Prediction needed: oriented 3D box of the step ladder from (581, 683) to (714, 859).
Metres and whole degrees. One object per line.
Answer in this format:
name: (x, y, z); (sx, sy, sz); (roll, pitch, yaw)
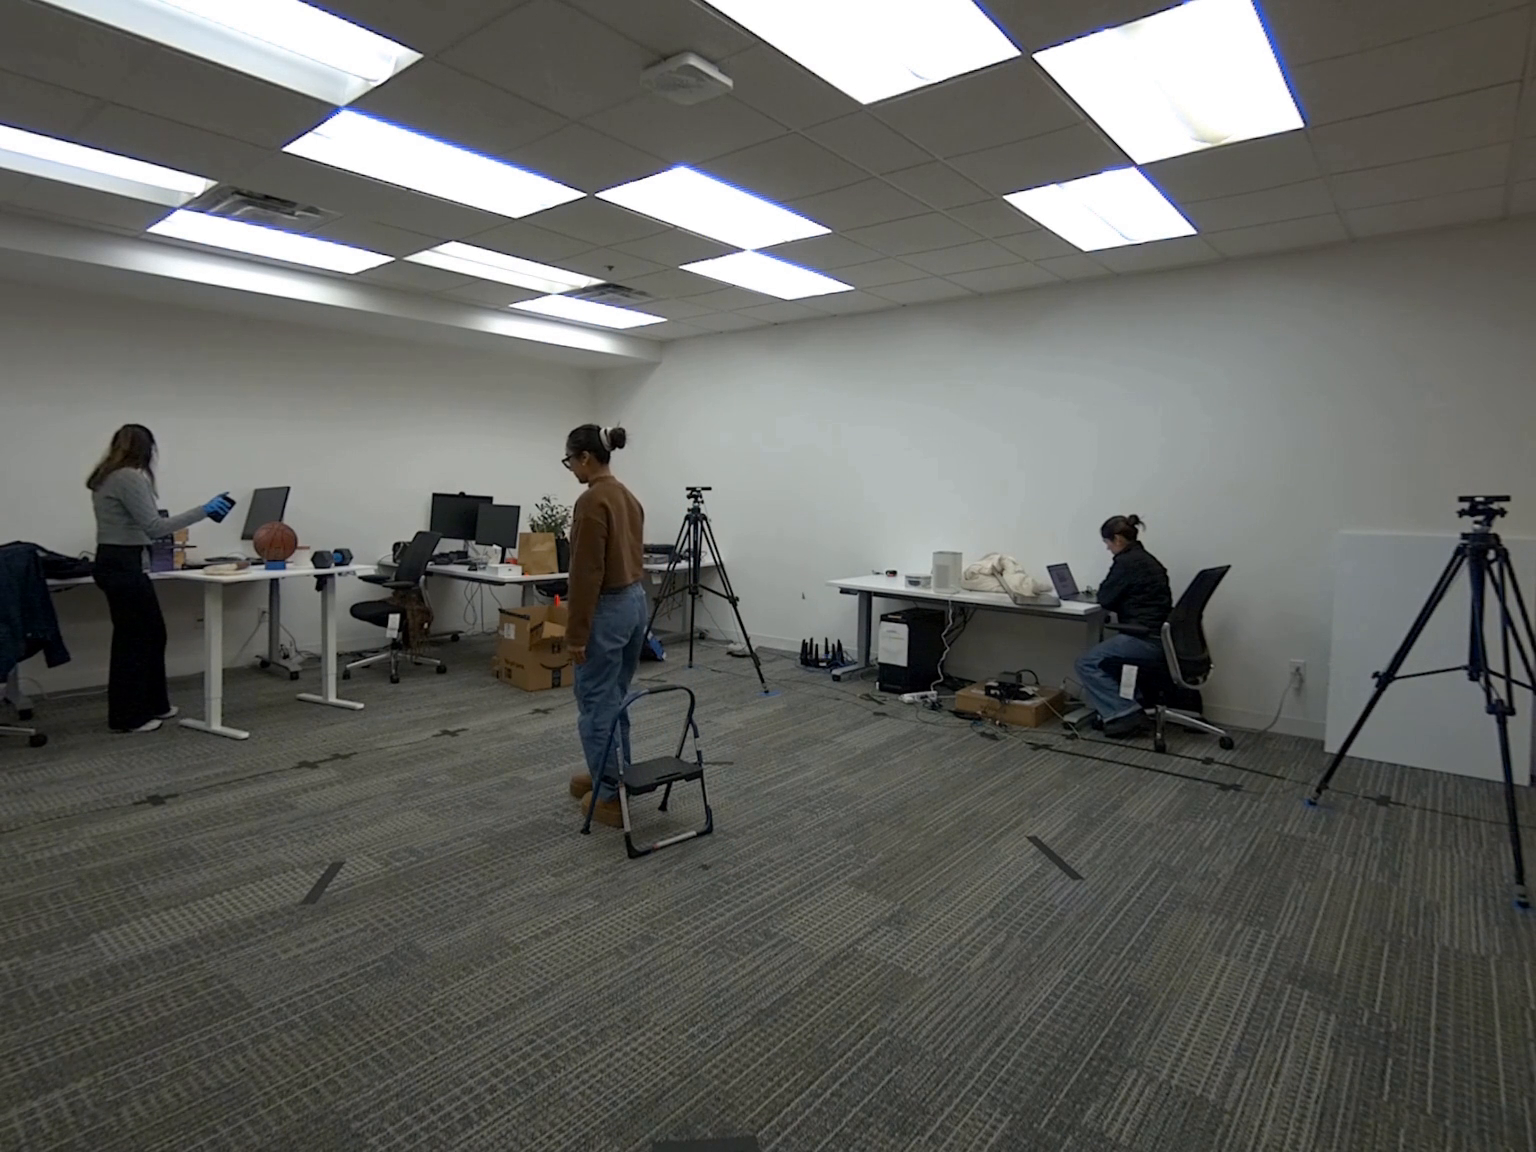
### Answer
step ladder: (-0.491, 0.728, 3.416); (0.417, 0.604, 0.361); (-2, 5, -44)
